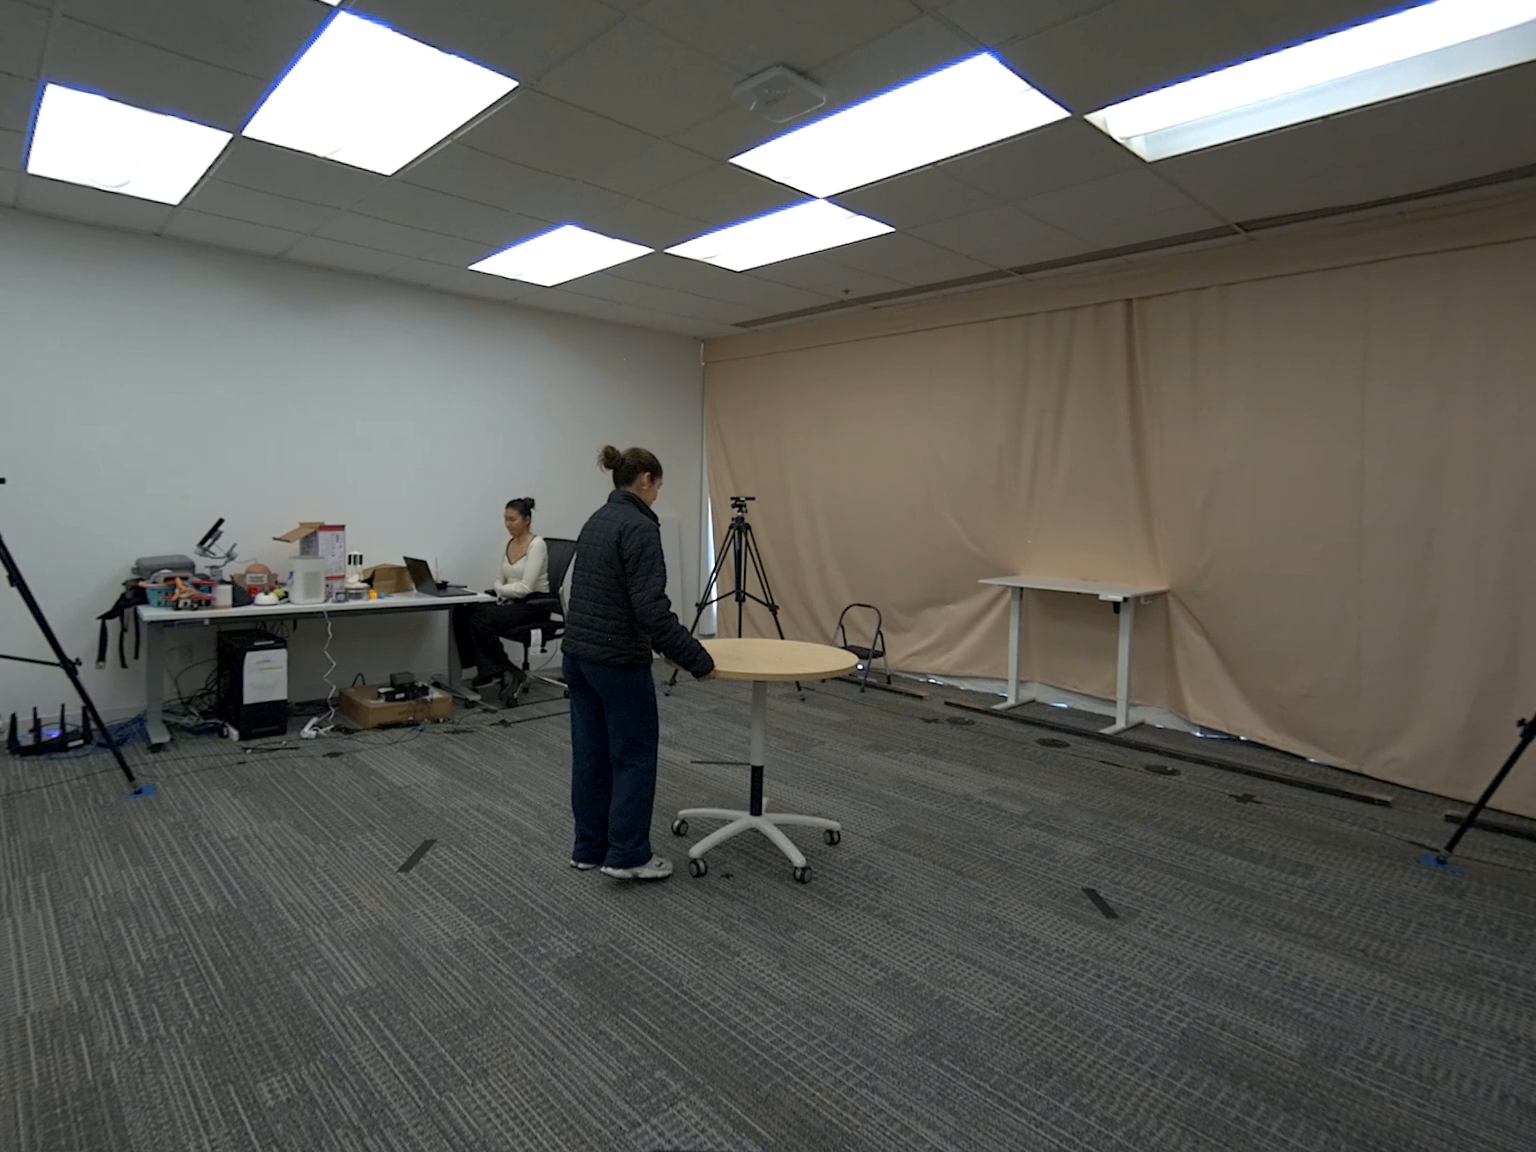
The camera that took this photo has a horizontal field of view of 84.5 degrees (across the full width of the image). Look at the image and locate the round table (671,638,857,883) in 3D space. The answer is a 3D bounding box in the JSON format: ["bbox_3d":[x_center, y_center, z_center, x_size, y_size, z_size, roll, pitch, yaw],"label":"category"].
[{"bbox_3d":[-0.031,0.694,3.316,0.784,0.785,0.787,1,3,-1],"label":"round table"}]
